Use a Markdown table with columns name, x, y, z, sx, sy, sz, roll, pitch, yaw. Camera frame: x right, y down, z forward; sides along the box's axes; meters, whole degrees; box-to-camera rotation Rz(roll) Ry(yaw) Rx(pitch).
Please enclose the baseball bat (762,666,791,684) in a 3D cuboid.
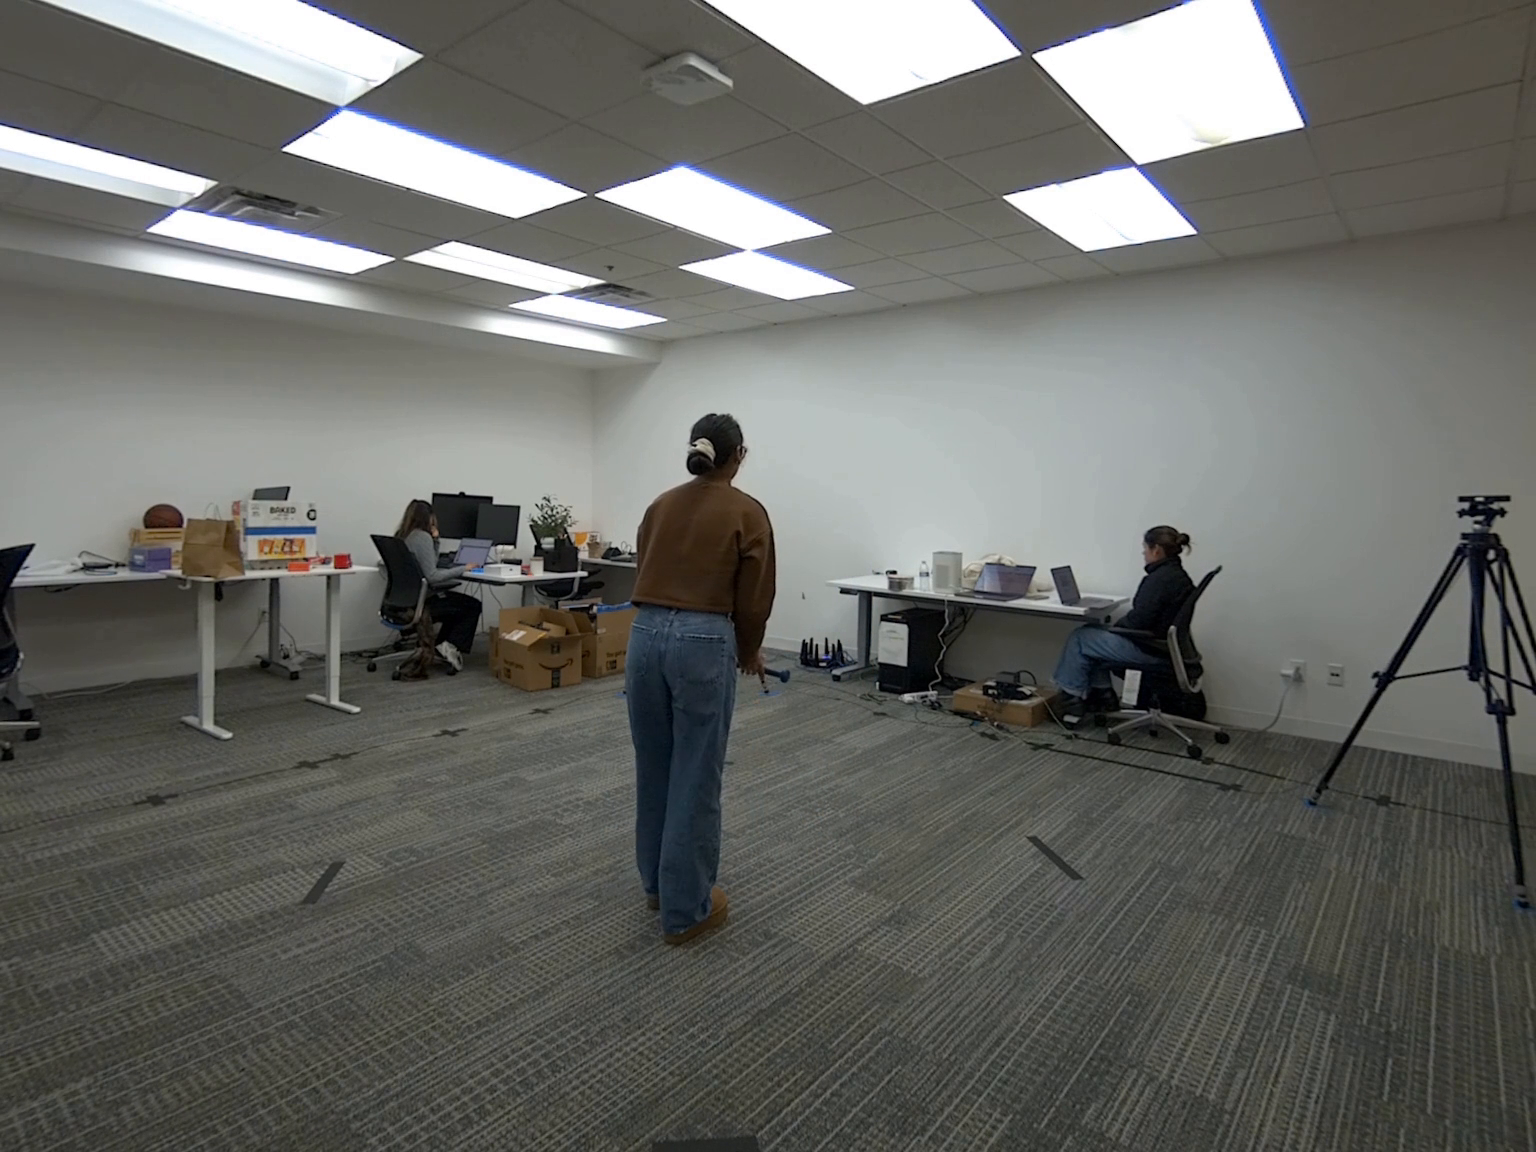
| name | x | y | z | sx | sy | sz | roll | pitch | yaw |
| --- | --- | --- | --- | --- | --- | --- | --- | --- | --- |
| baseball bat | -0.186 | 0.282 | 2.981 | 0.559 | 0.088 | 0.087 | 10 | 8 | 26 |
